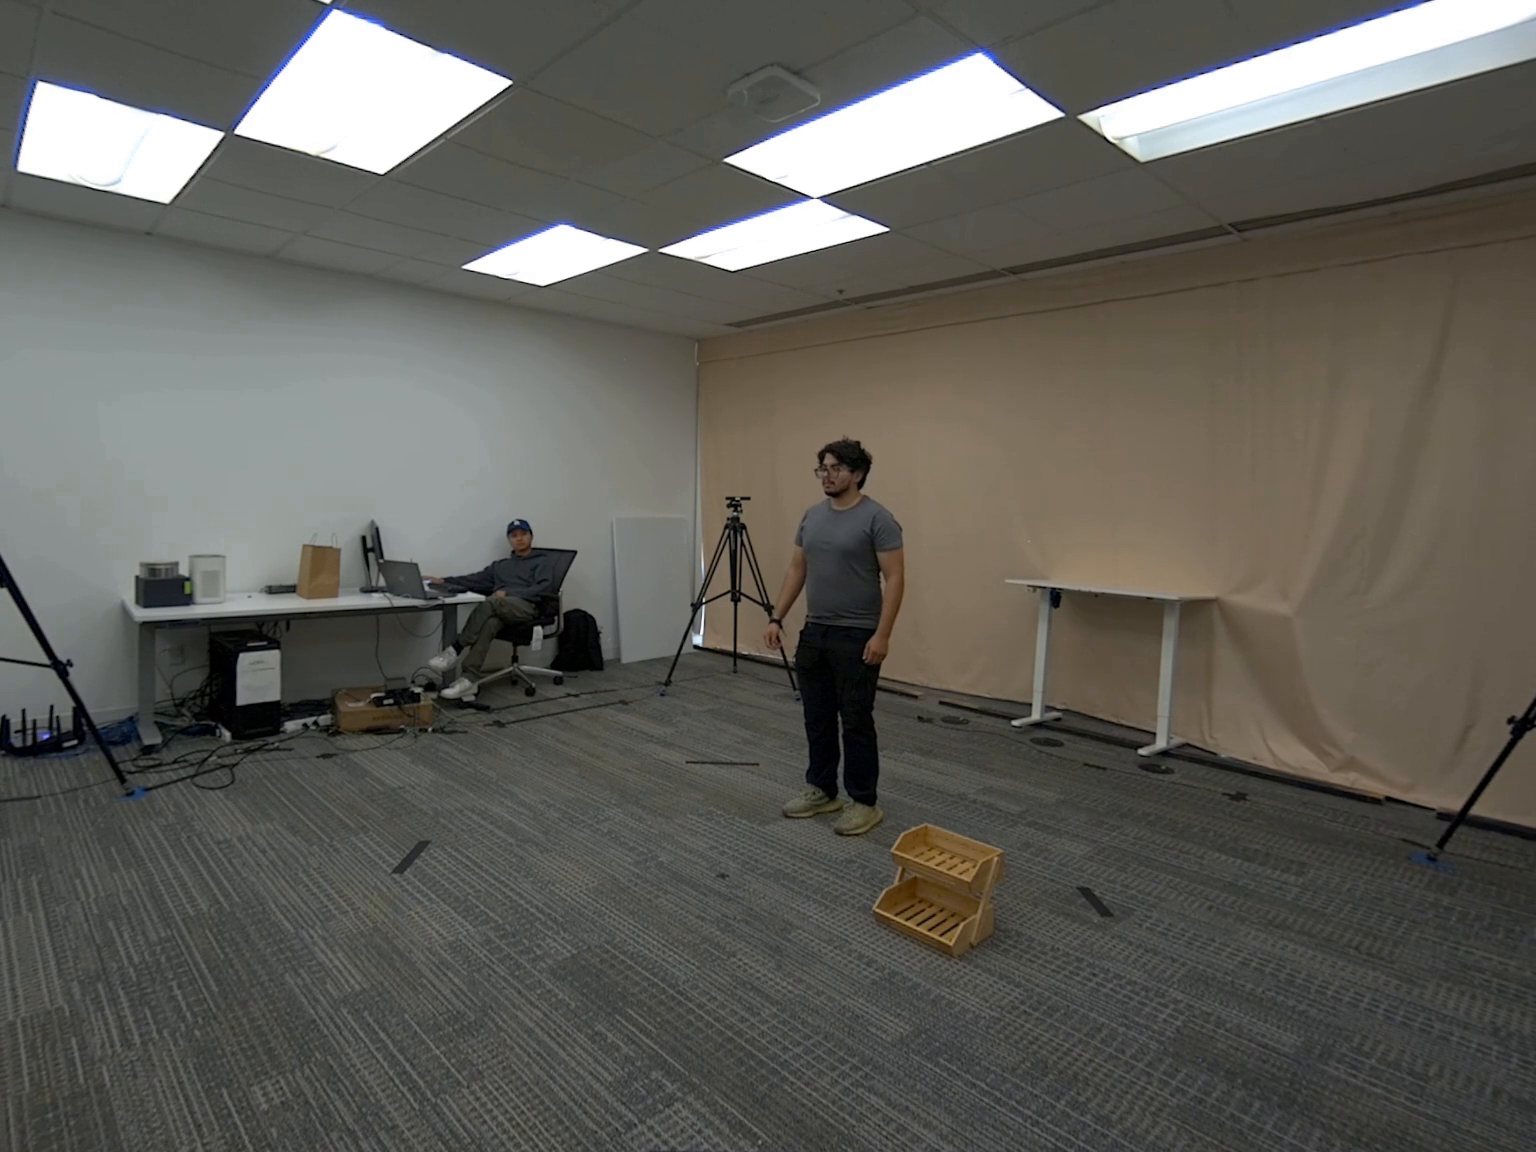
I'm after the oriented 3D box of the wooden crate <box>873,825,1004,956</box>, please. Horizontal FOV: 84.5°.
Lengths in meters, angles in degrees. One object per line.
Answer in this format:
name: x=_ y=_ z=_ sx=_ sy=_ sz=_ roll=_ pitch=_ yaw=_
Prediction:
wooden crate: x=0.551 y=1.021 z=2.768 sx=0.333 sy=0.273 sz=0.295 roll=5 pitch=5 yaw=45
